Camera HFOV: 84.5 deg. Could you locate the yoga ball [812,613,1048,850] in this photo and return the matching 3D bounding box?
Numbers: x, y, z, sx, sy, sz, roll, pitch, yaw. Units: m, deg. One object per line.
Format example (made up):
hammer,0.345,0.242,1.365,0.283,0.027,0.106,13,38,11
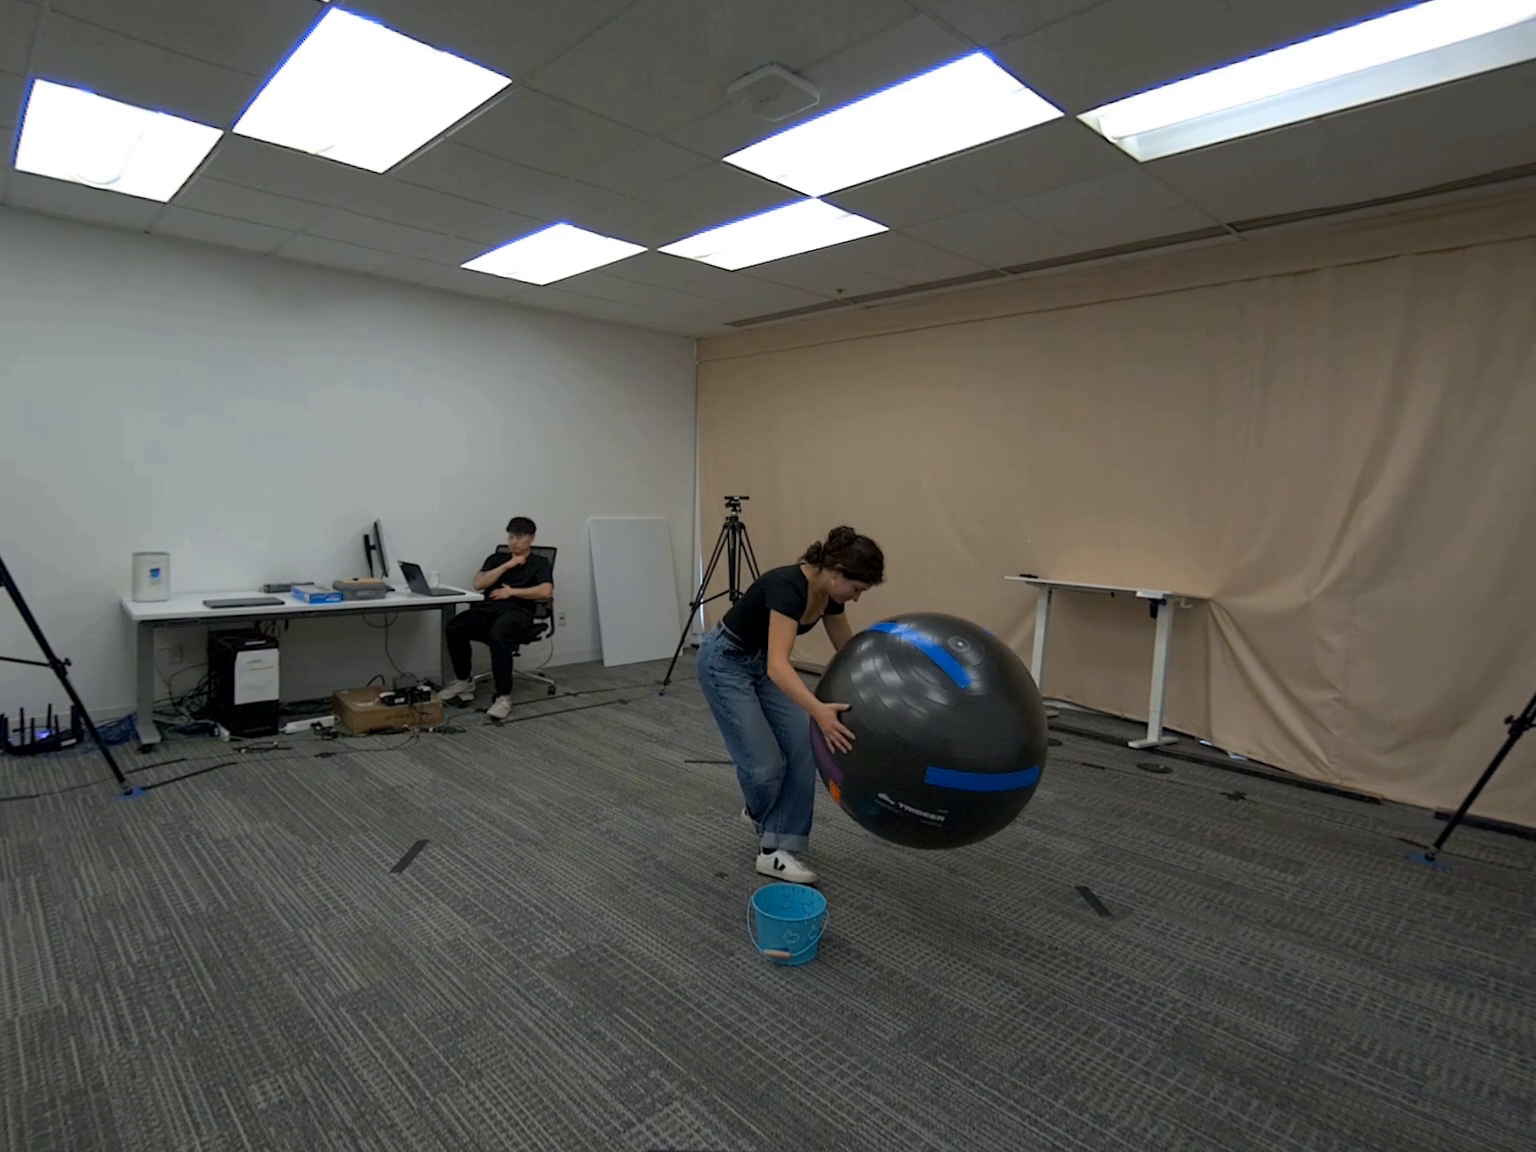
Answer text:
yoga ball,0.525,0.514,2.754,0.757,0.756,0.761,1,4,-1
